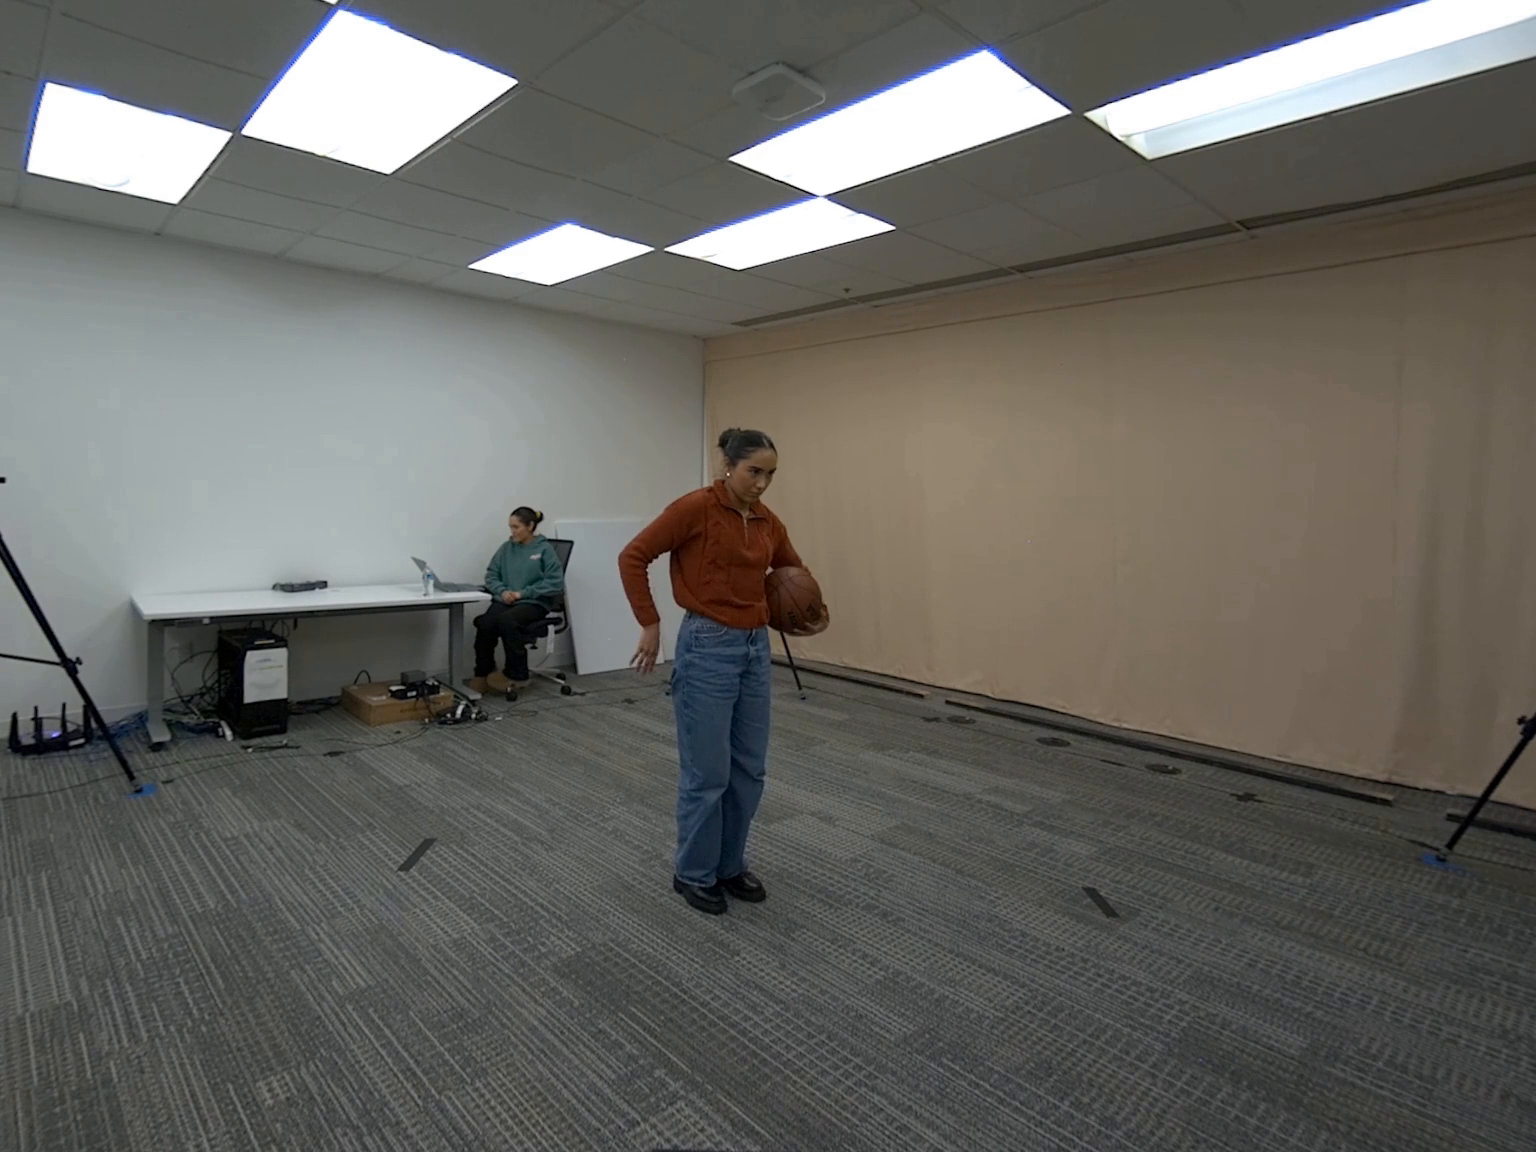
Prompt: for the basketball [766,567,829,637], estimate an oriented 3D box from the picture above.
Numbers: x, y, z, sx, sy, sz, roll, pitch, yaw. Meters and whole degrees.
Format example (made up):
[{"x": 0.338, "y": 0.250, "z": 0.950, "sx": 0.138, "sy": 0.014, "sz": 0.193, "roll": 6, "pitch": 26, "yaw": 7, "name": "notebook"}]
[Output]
[{"x": 0.063, "y": 0.090, "z": 2.993, "sx": 0.236, "sy": 0.235, "sz": 0.237, "roll": 1, "pitch": 4, "yaw": -1, "name": "basketball"}]
